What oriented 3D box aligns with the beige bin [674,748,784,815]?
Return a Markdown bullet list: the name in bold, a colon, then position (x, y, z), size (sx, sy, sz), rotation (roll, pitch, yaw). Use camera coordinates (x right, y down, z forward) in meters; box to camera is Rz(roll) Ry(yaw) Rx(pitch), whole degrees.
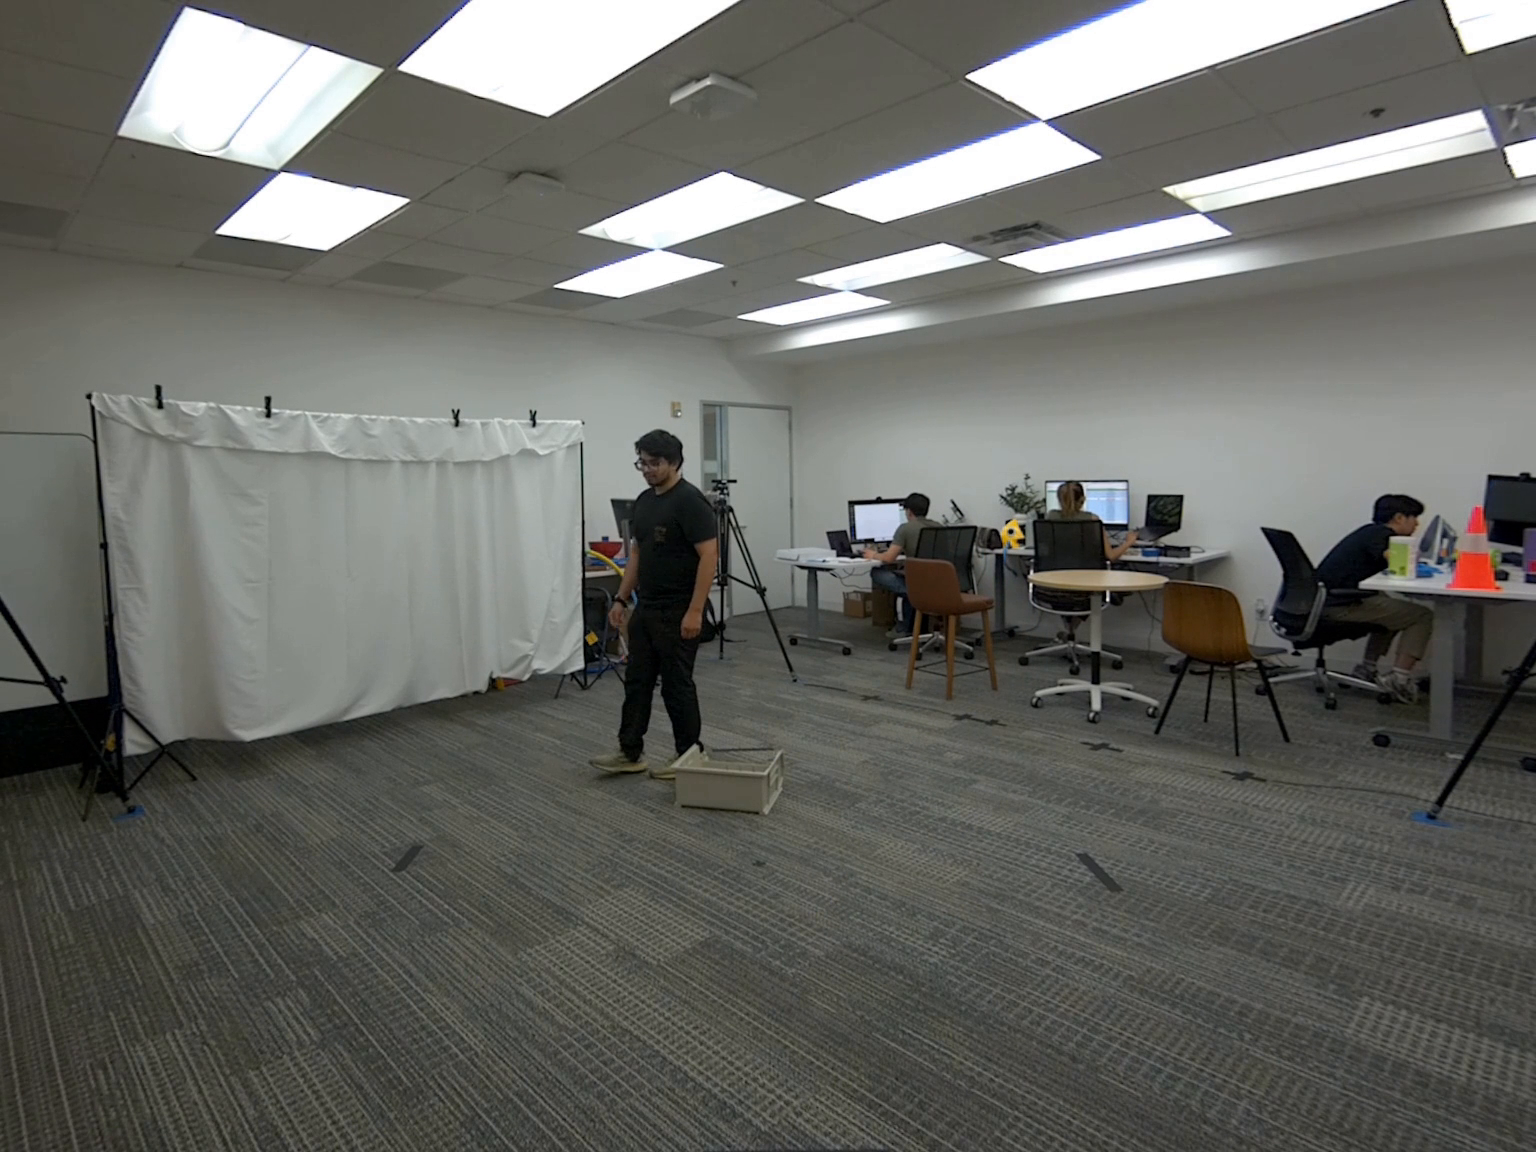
- **beige bin**: position (-0.168, 0.888, 3.784), size (0.429, 0.188, 0.374), rotation (1, 7, 15)
